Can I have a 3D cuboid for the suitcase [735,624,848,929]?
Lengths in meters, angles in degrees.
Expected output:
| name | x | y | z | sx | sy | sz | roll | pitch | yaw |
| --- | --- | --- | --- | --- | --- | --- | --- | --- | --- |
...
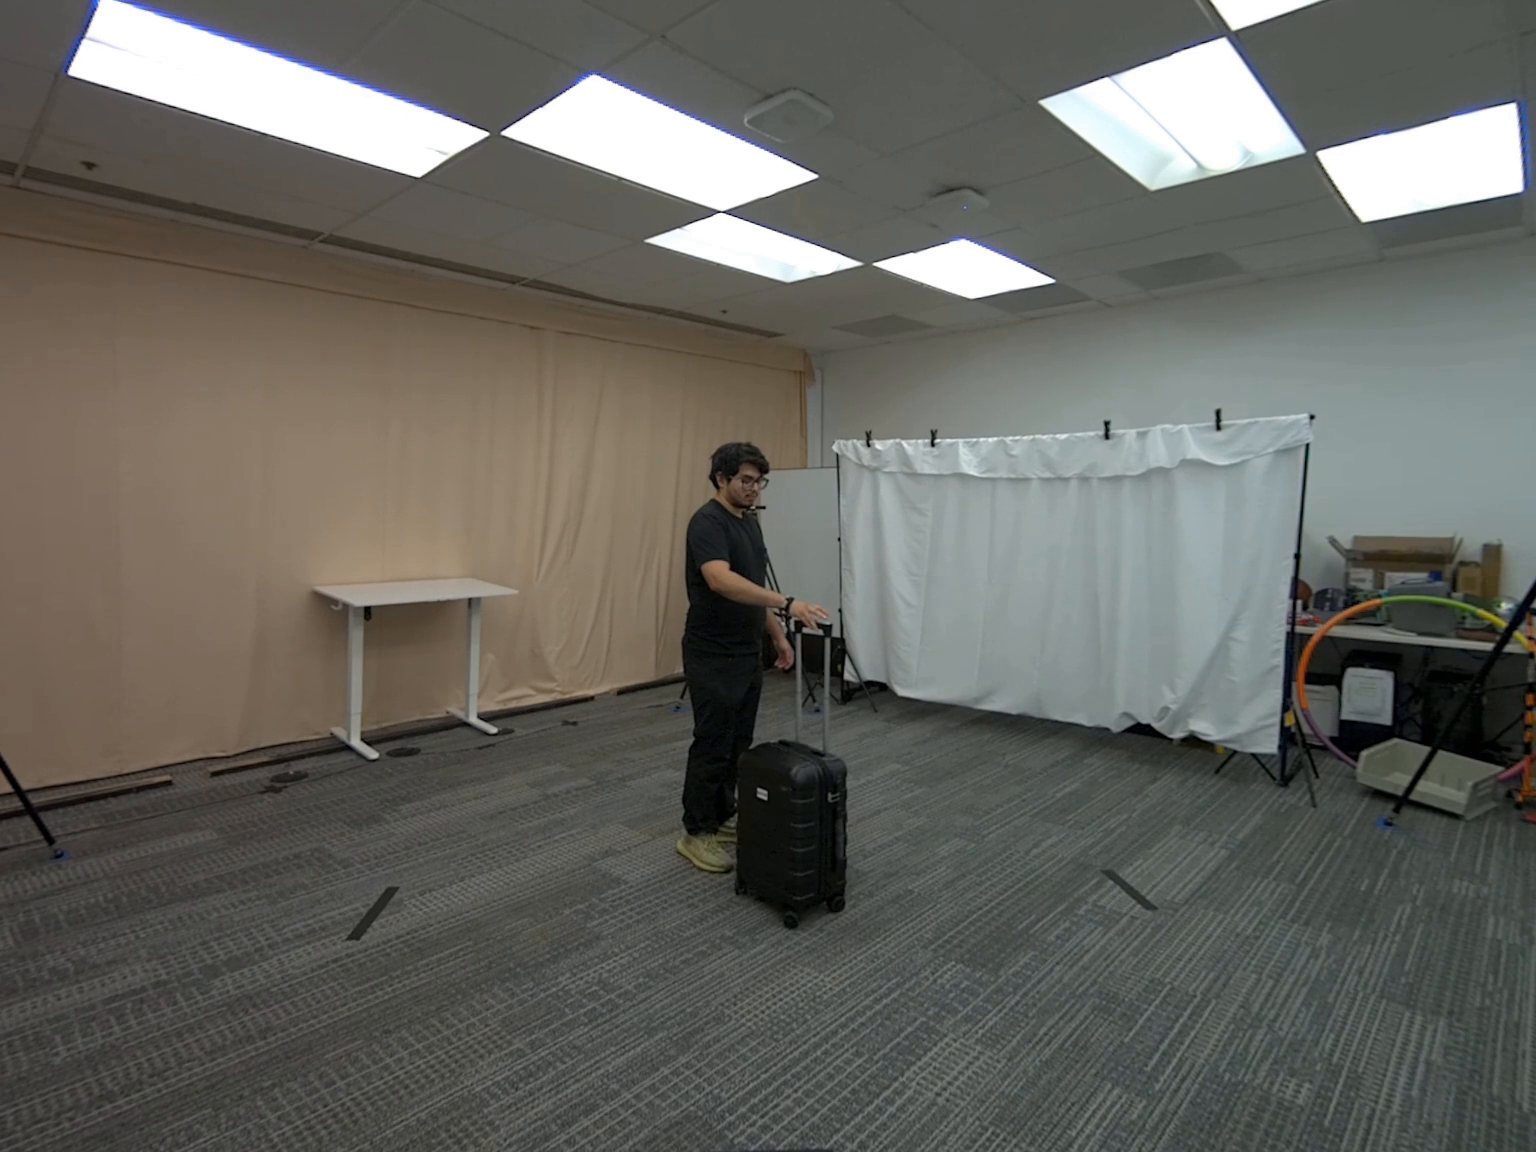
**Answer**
| name | x | y | z | sx | sy | sz | roll | pitch | yaw |
| --- | --- | --- | --- | --- | --- | --- | --- | --- | --- |
| suitcase | 0.087 | 0.674 | 2.930 | 0.249 | 0.976 | 0.396 | -3 | 5 | -37 |
